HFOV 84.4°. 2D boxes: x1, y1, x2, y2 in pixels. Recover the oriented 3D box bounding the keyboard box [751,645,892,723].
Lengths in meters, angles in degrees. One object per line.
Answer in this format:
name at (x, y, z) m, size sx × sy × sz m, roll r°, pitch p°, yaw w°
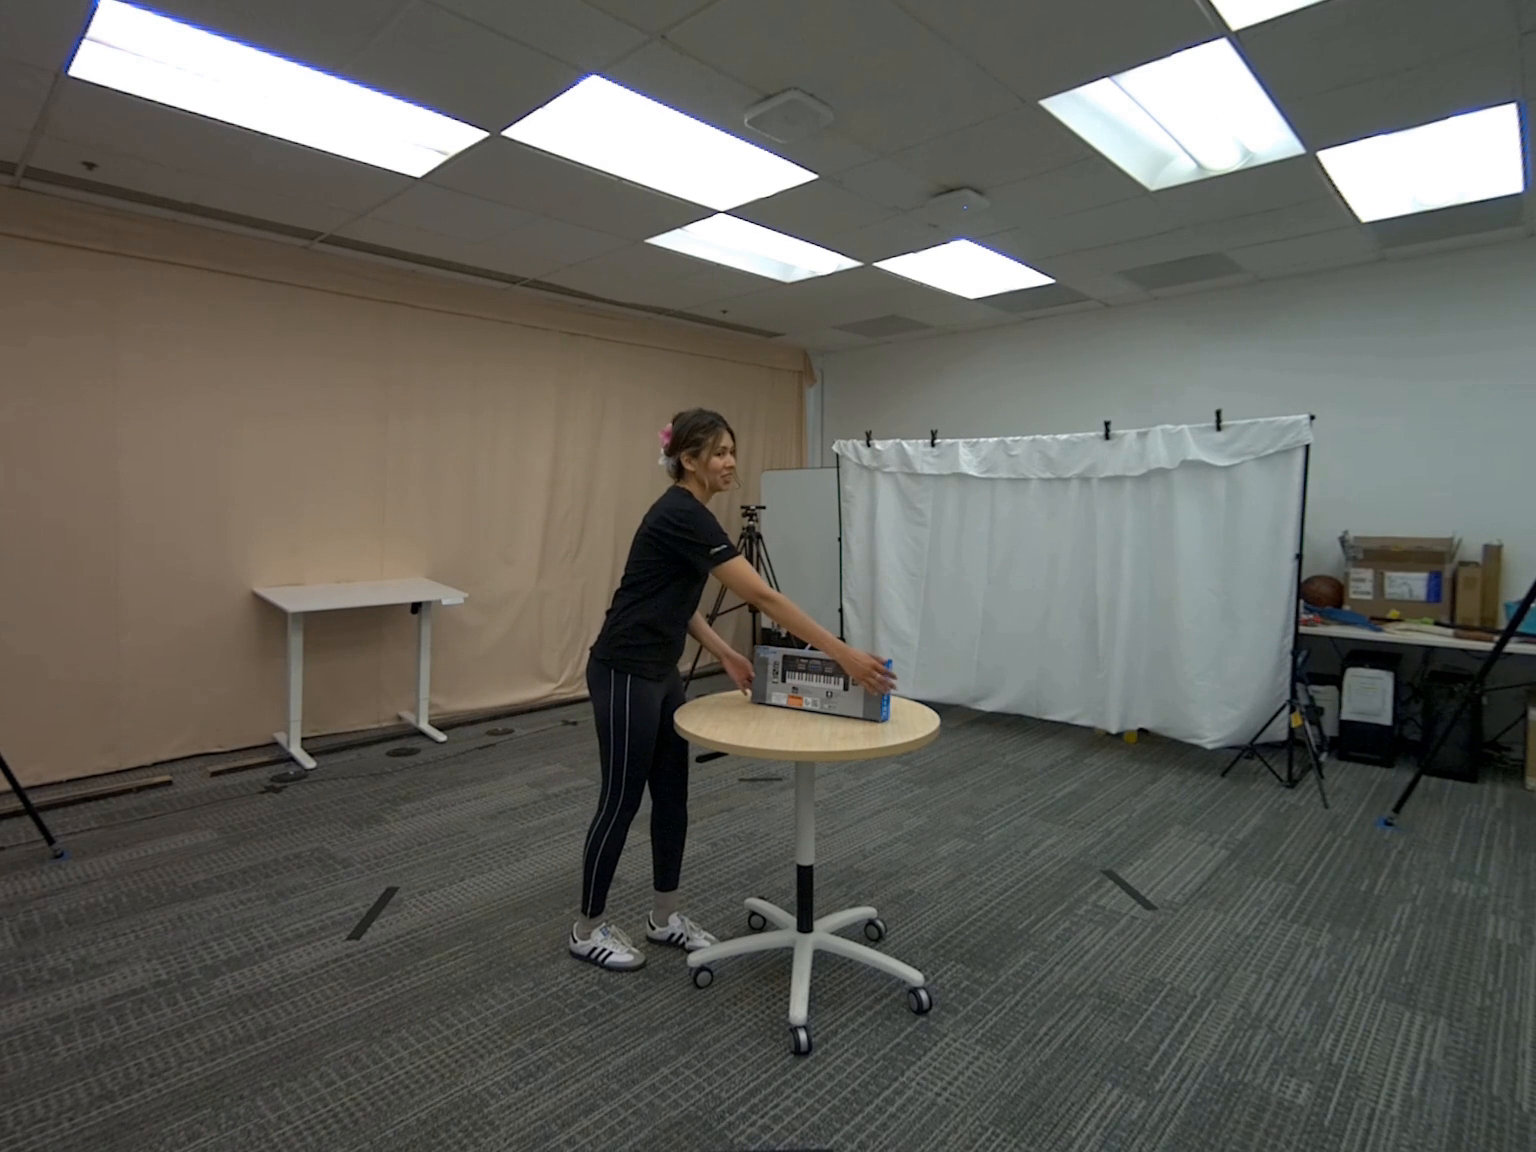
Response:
keyboard box at (0.156, 0.317, 2.483) m, size 0.450 × 0.176 × 0.057 m, roll 2°, pitch -3°, yaw 34°
